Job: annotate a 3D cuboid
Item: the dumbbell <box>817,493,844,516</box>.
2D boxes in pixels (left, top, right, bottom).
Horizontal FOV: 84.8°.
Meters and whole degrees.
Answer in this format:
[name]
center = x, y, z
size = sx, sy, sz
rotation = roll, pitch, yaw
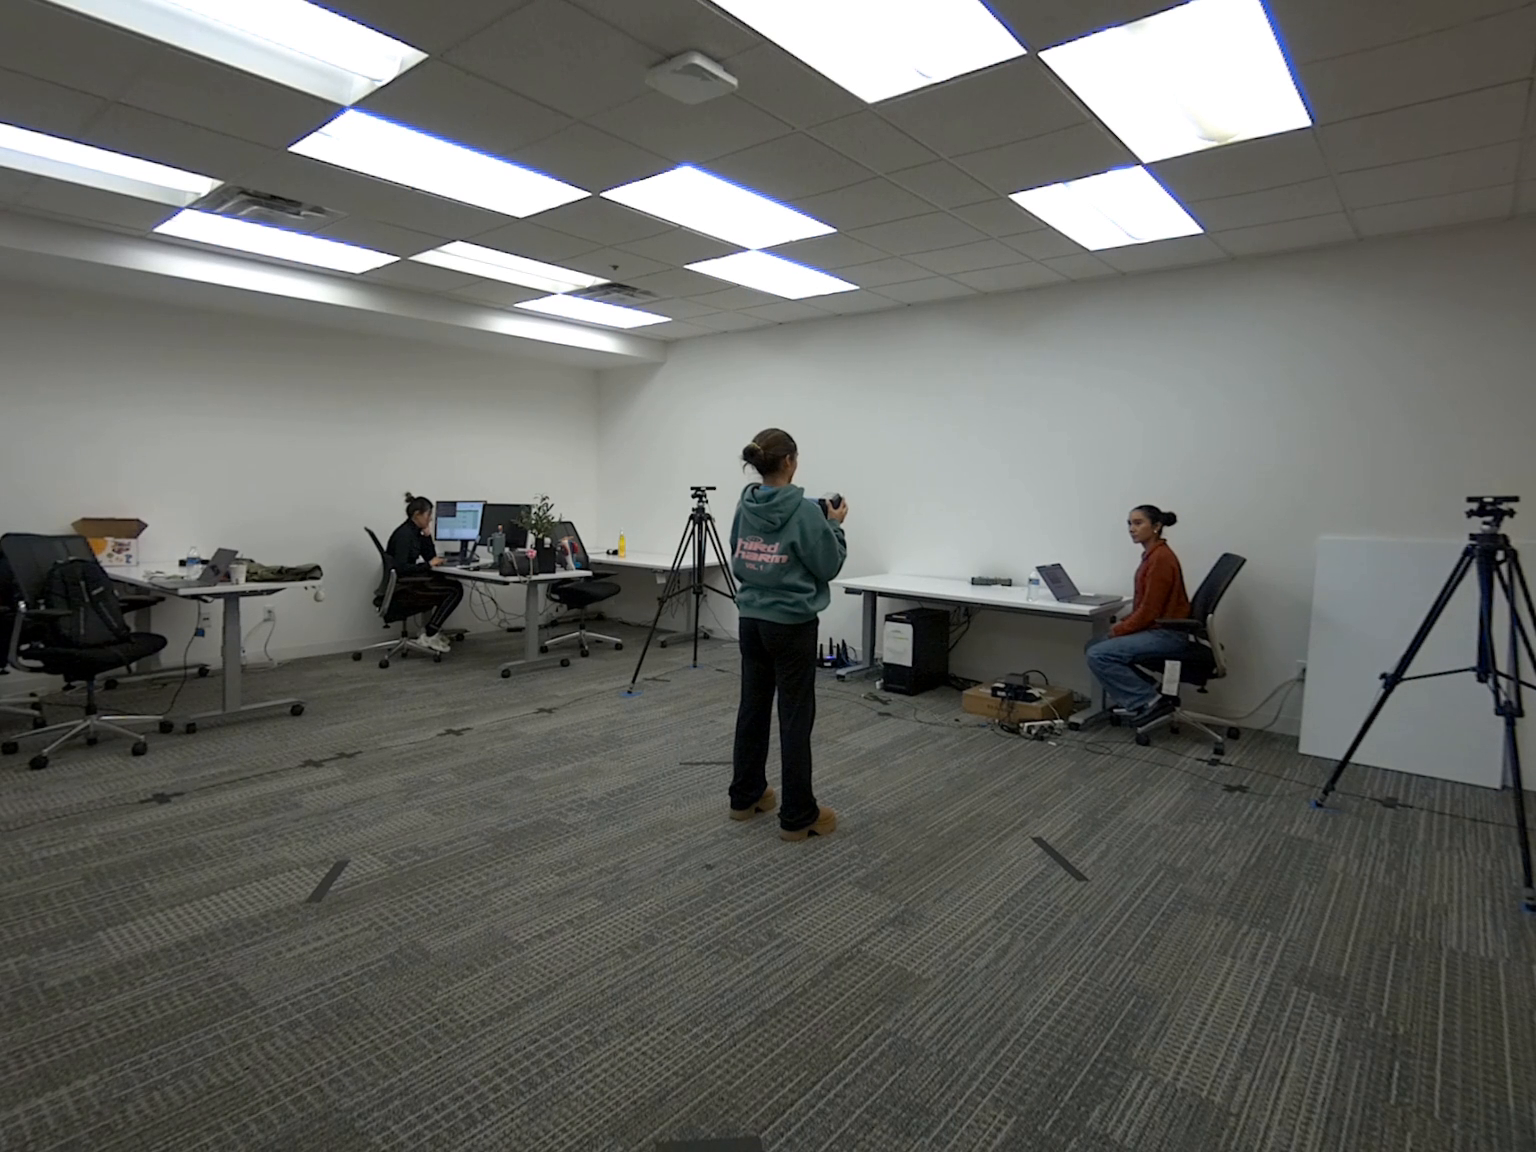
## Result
[dumbbell]
center = 0.172, -0.298, 3.672
size = 0.304, 0.106, 0.122
rotation = 9, 33, 39
